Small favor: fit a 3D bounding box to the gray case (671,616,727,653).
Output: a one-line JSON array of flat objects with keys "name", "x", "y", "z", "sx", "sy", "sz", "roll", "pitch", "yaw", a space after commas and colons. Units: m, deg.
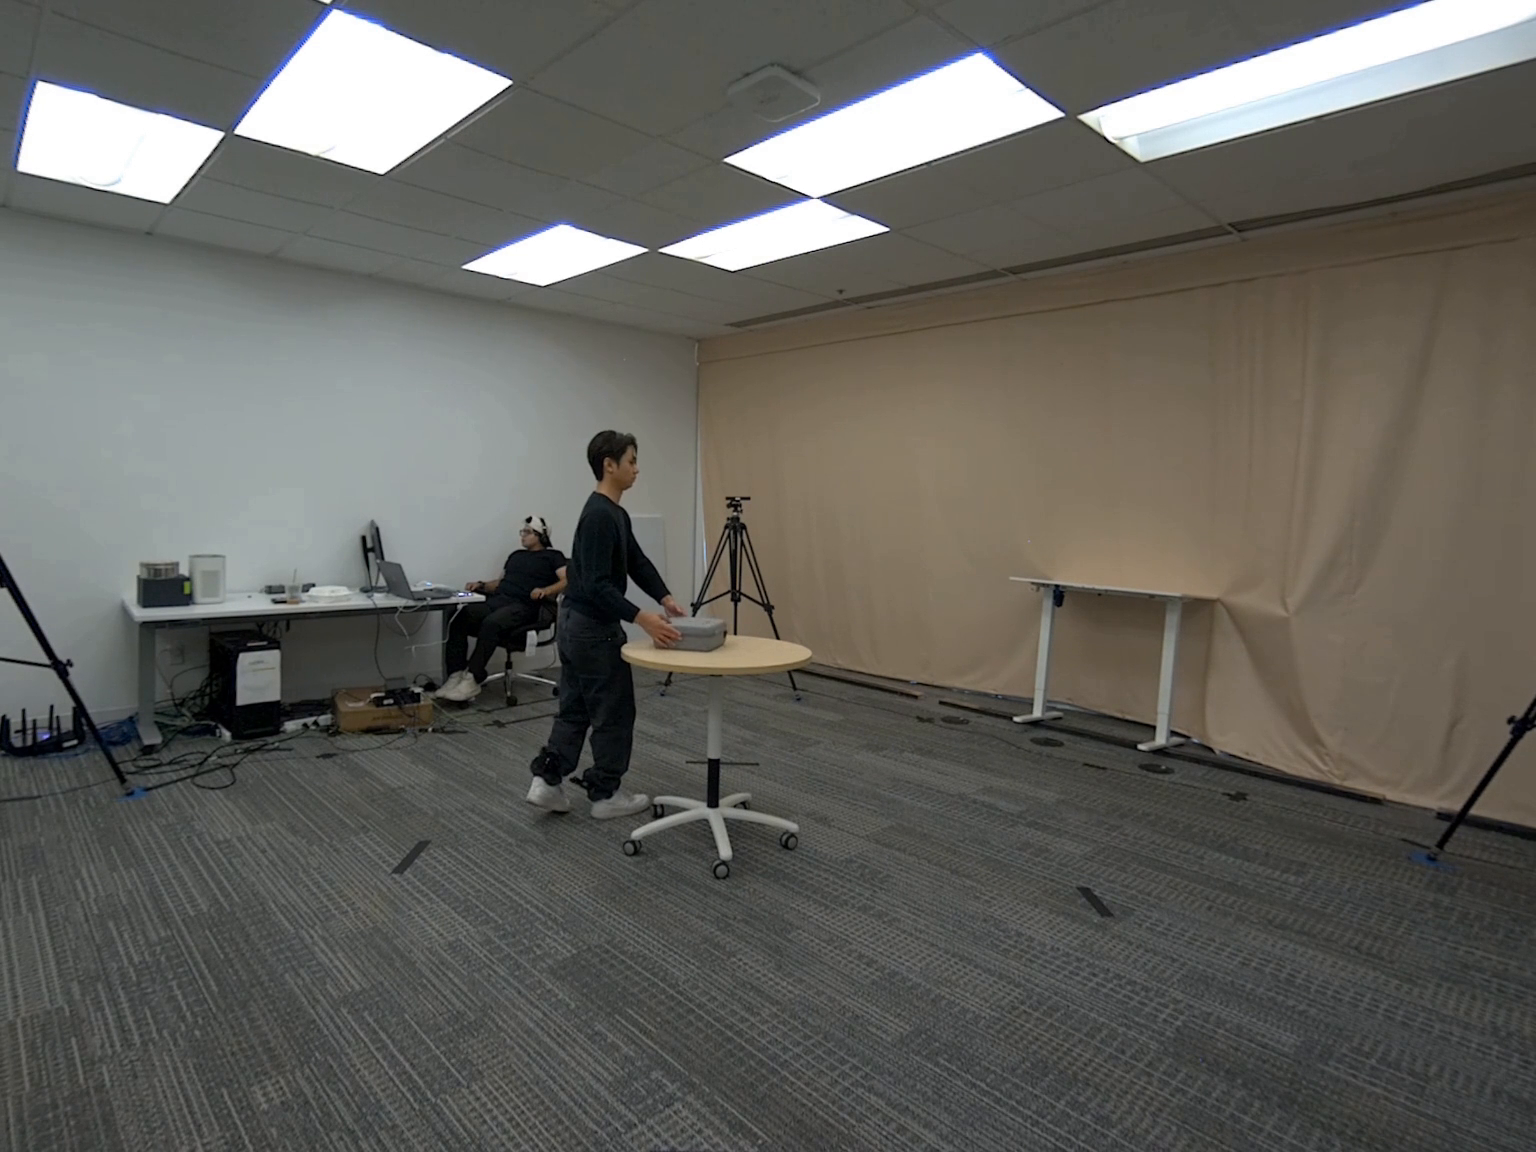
[{"name": "gray case", "x": -0.329, "y": 0.235, "z": 3.456, "sx": 0.264, "sy": 0.104, "sz": 0.255, "roll": 2, "pitch": 6, "yaw": 14}]
